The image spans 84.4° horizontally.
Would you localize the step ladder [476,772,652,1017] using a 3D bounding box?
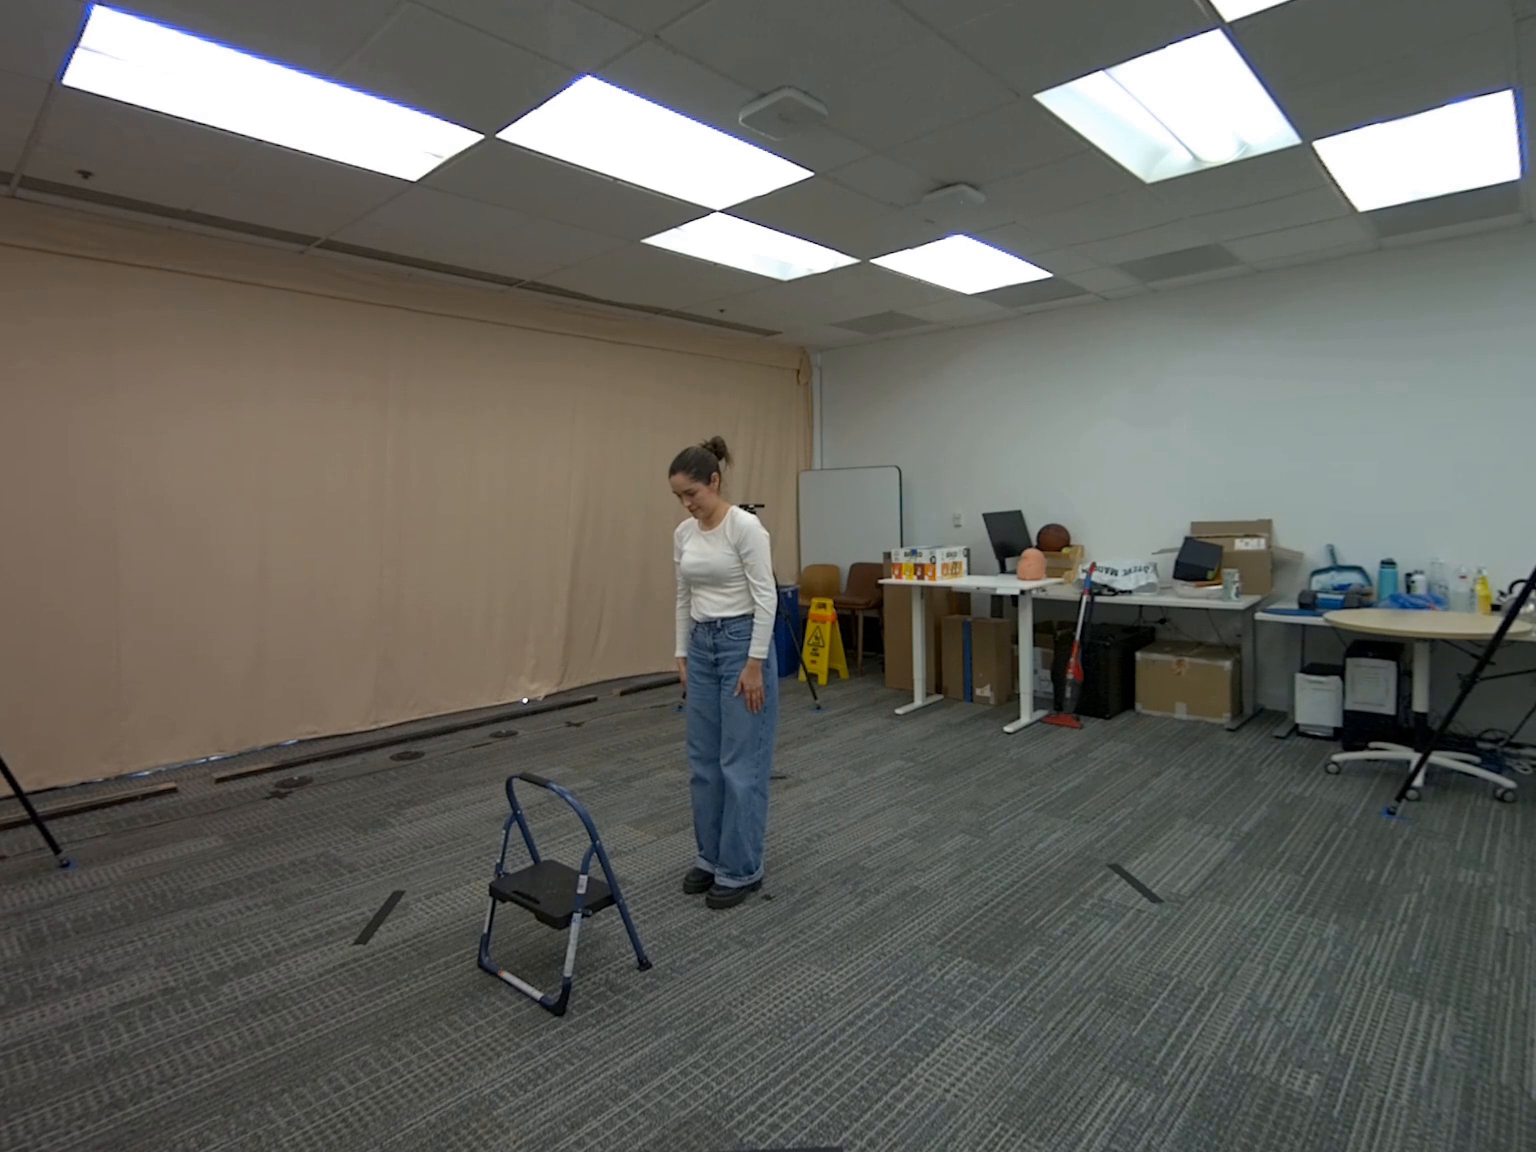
[{"bbox_3d":[-0.630,0.889,2.544,0.444,0.605,0.339,1,4,39],"label":"step ladder"}]
